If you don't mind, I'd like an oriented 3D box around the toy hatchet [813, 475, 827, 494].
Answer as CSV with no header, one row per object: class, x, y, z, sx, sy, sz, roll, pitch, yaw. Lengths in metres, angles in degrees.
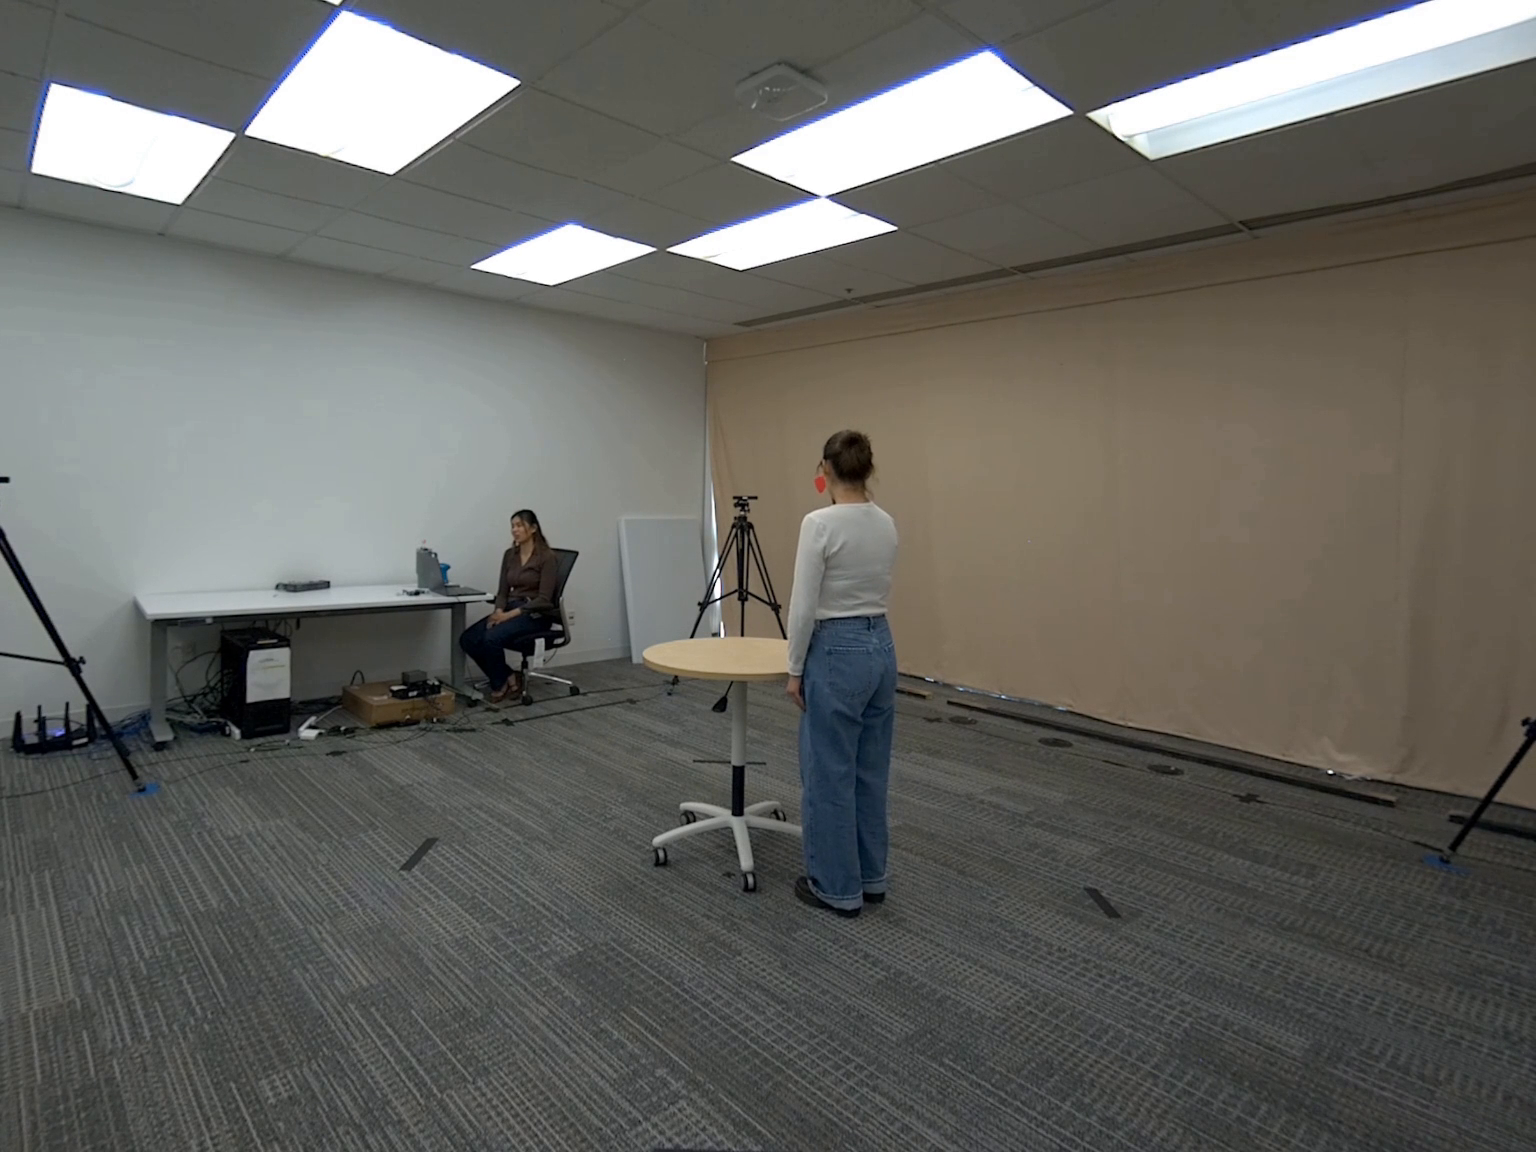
toy hatchet,0.228,-0.268,3.156,0.128,0.272,0.030,12,-14,-21
